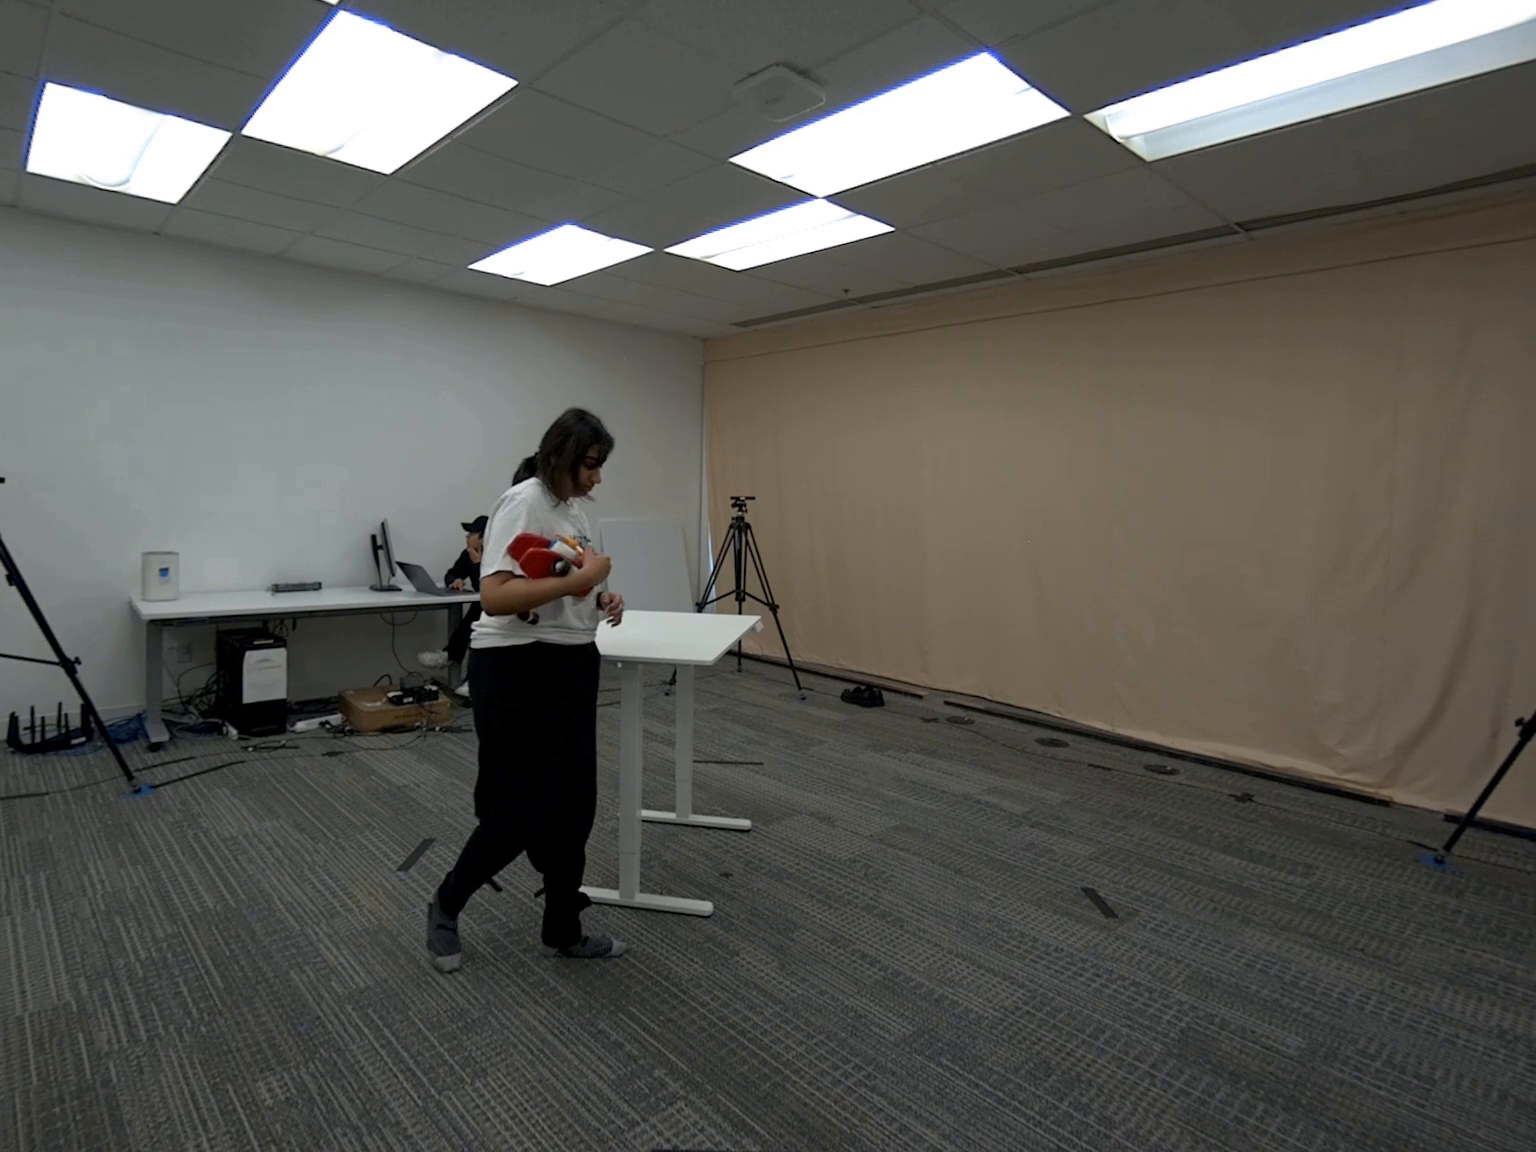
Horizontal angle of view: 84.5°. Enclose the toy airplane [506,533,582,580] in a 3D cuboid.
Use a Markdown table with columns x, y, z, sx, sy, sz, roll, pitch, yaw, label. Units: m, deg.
| x | y | z | sx | sy | sz | roll | pitch | yaw | label |
| --- | --- | --- | --- | --- | --- | --- | --- | --- | --- |
| -0.624 | 0.005 | 2.262 | 0.258 | 0.245 | 0.161 | -23 | 52 | -10 | toy airplane |
